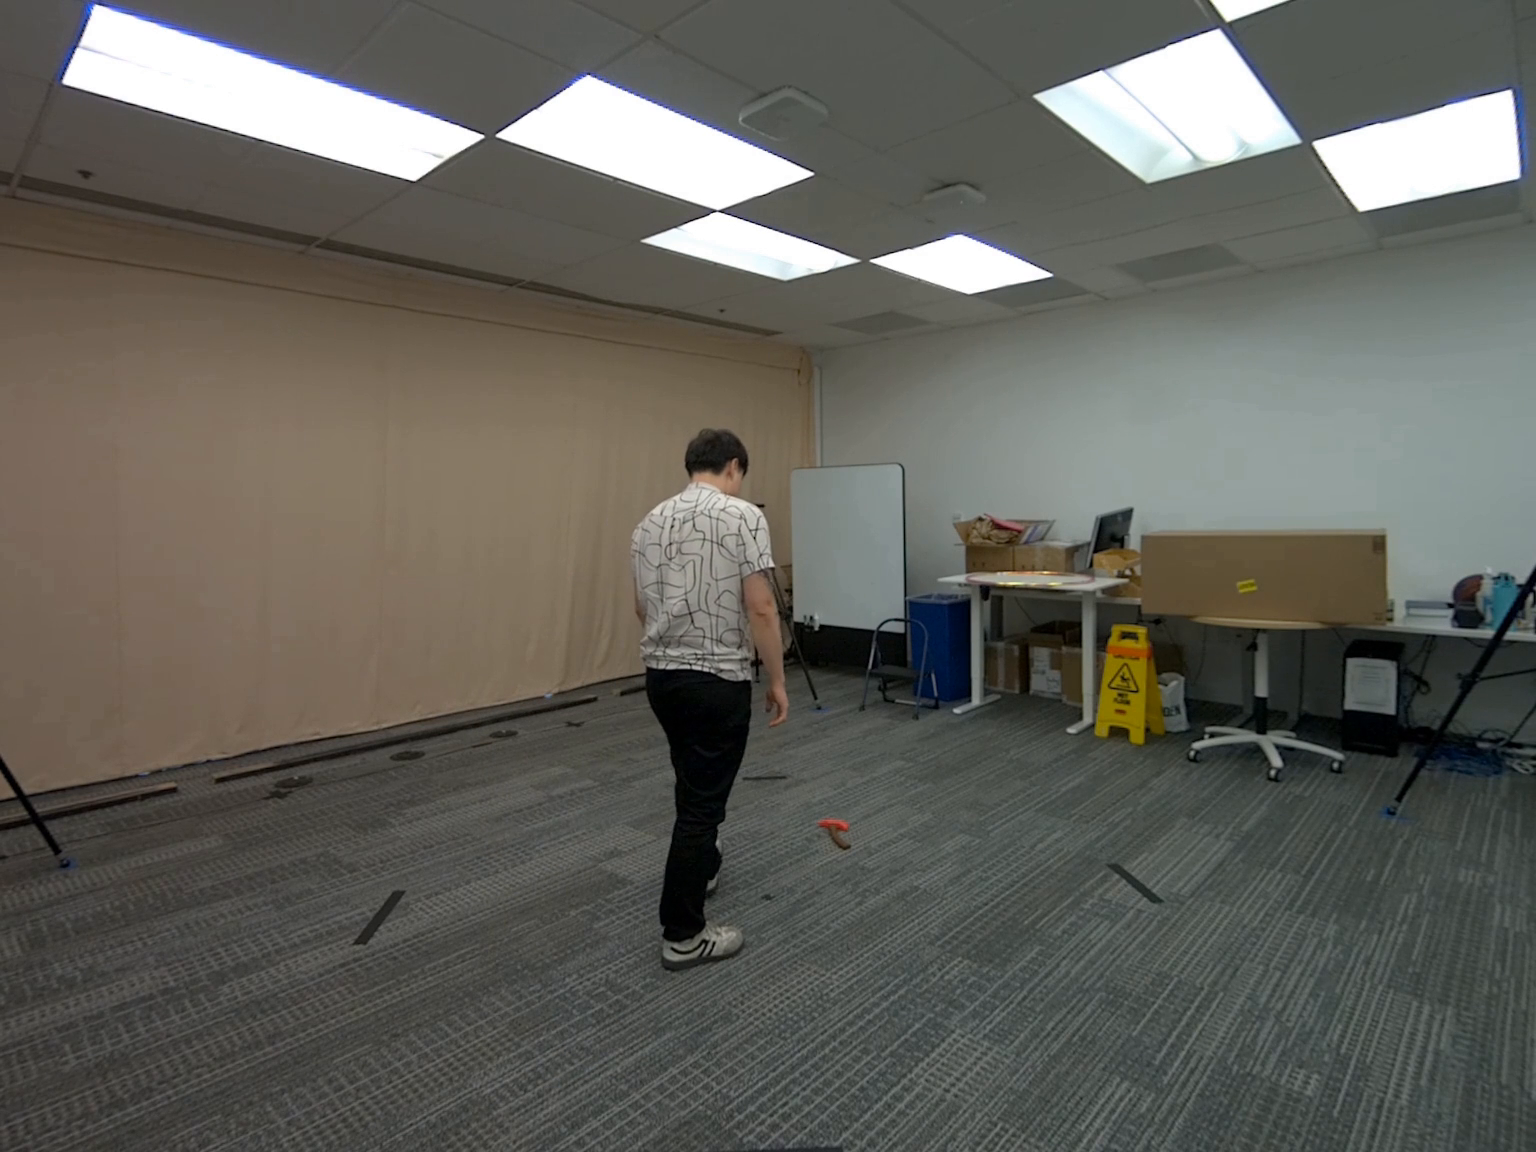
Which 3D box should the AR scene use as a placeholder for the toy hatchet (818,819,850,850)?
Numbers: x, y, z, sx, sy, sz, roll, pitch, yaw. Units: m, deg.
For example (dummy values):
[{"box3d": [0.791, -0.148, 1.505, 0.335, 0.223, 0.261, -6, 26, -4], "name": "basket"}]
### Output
[{"box3d": [0.318, 1.077, 3.517, 0.128, 0.029, 0.276, 1, 5, -20], "name": "toy hatchet"}]
